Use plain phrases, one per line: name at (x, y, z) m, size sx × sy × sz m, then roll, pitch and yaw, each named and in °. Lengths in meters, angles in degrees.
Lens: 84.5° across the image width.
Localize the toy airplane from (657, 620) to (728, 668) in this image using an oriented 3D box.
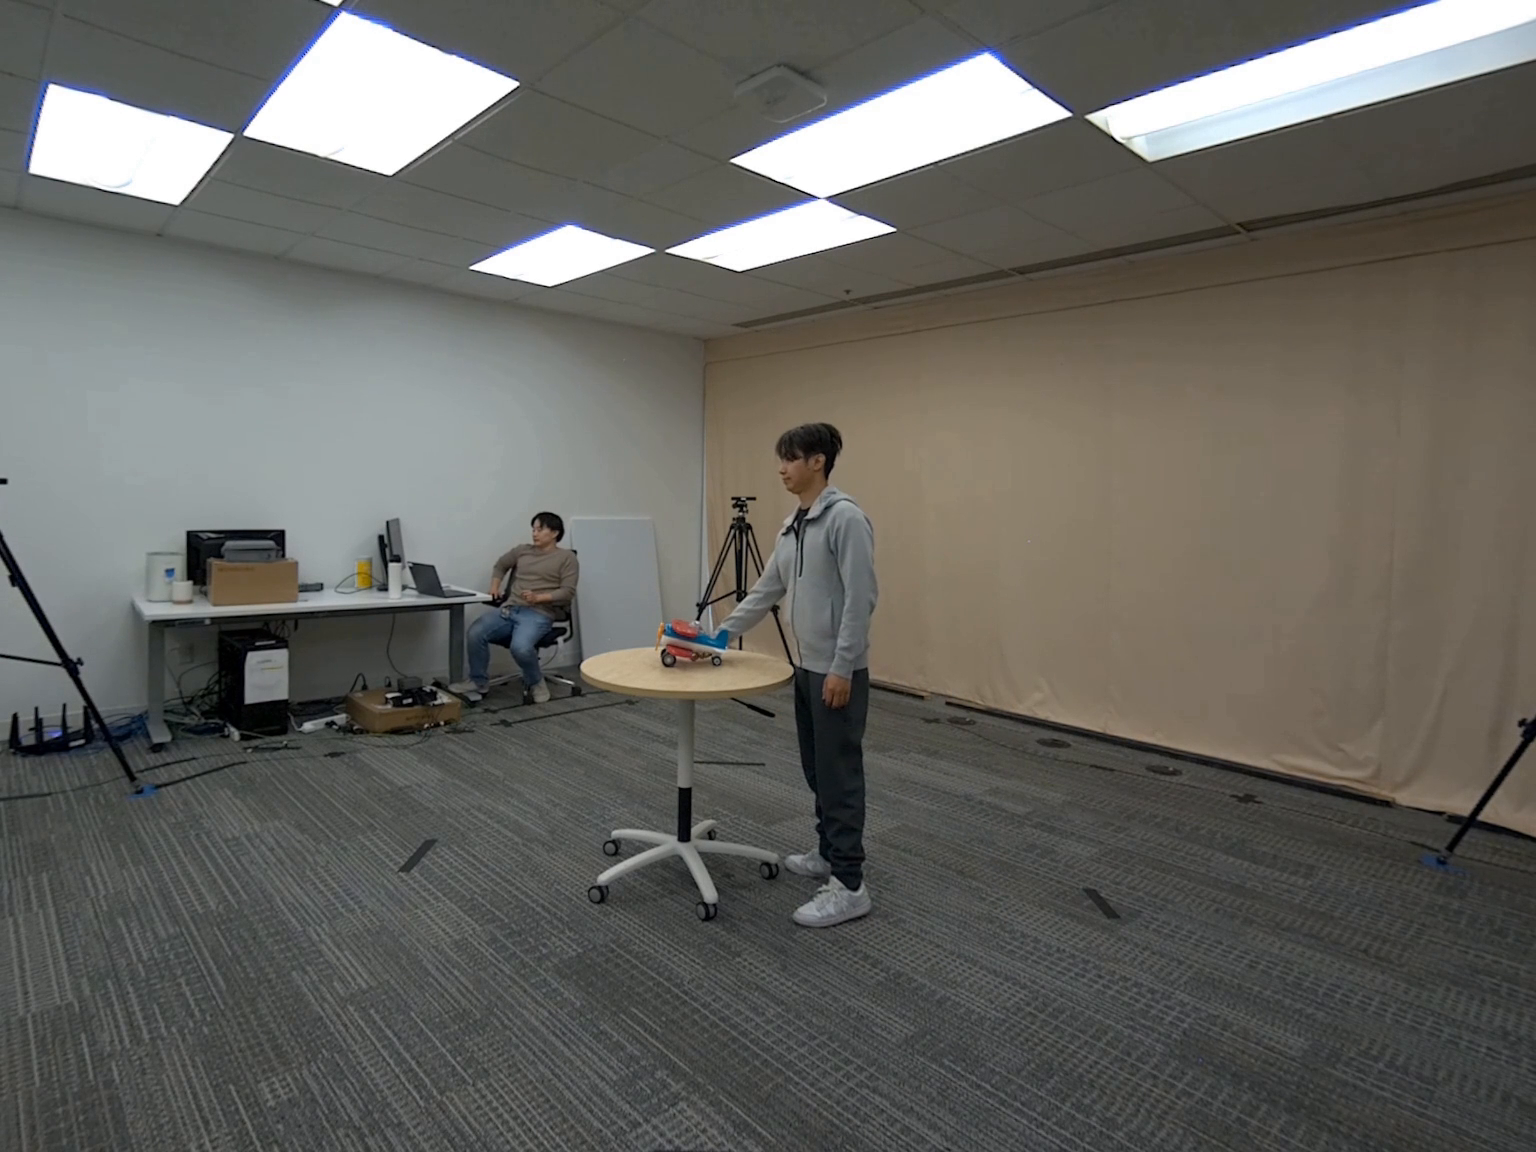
toy airplane at (-0.285, 0.242, 3.080) m, size 0.253 × 0.156 × 0.257 m, roll -2°, pitch 5°, yaw -35°
